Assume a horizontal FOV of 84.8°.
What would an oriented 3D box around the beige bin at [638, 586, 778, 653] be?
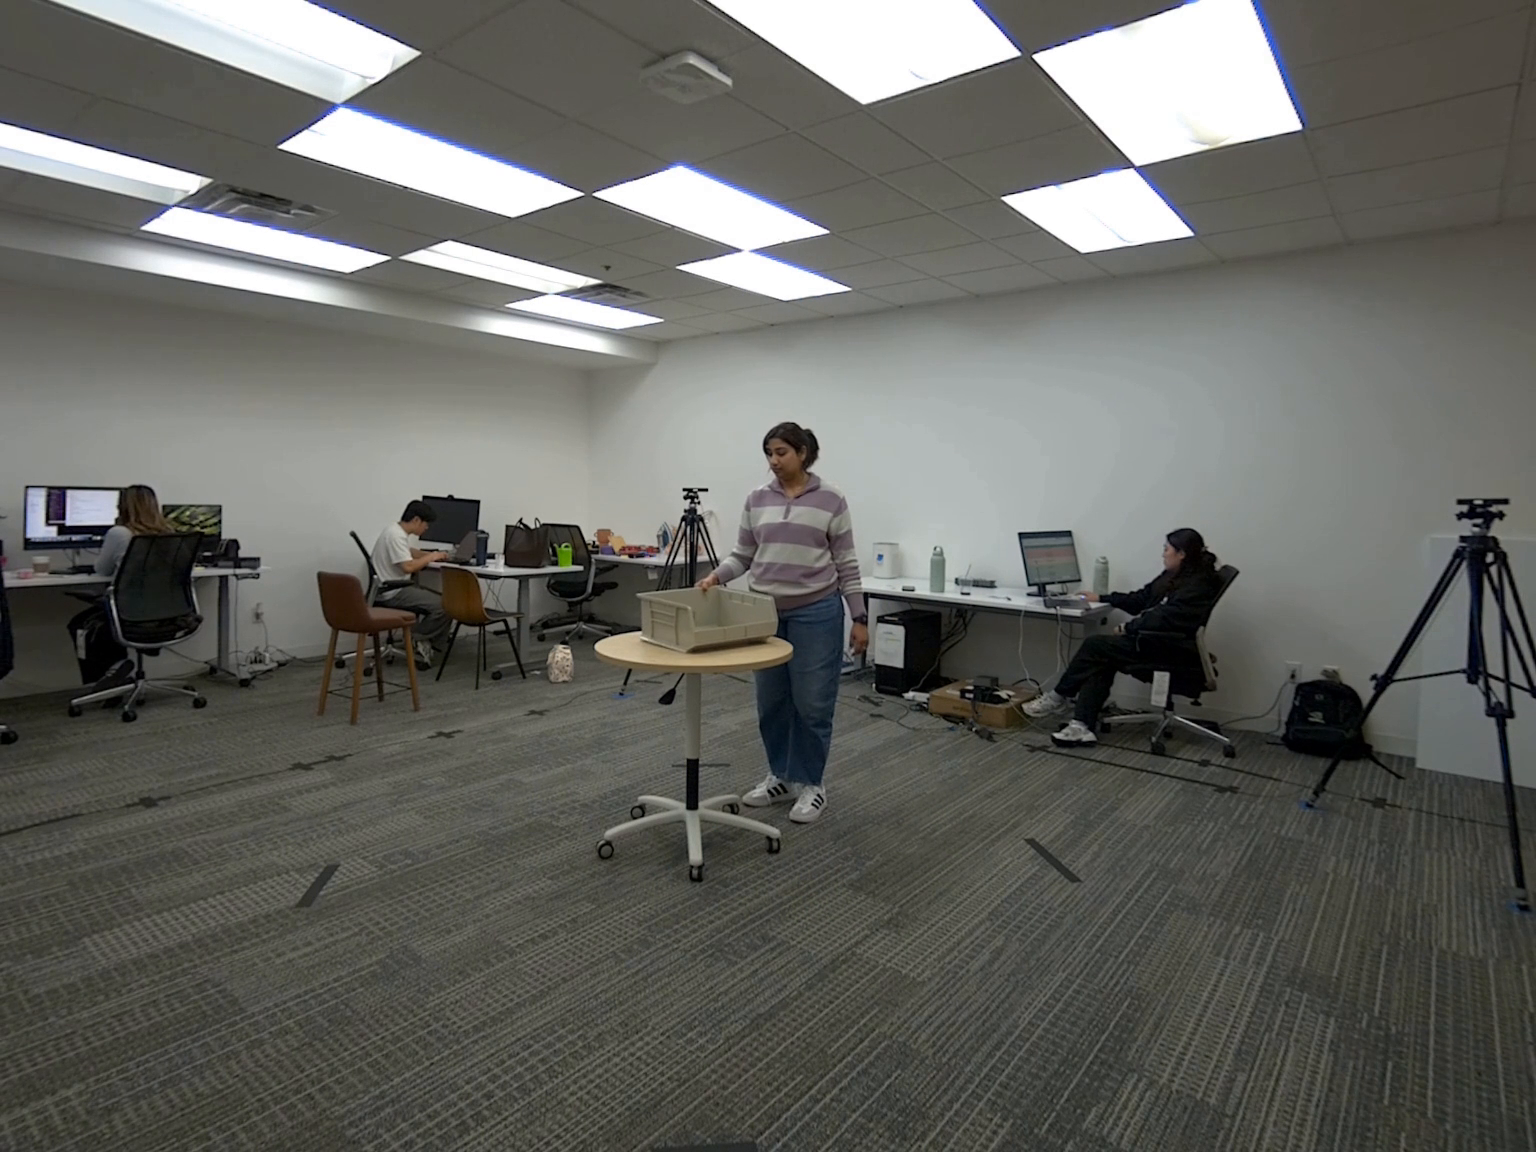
[{"bbox_3d":[-0.253,0.164,3.355,0.410,0.188,0.390,-5,8,-39],"label":"beige bin"}]
